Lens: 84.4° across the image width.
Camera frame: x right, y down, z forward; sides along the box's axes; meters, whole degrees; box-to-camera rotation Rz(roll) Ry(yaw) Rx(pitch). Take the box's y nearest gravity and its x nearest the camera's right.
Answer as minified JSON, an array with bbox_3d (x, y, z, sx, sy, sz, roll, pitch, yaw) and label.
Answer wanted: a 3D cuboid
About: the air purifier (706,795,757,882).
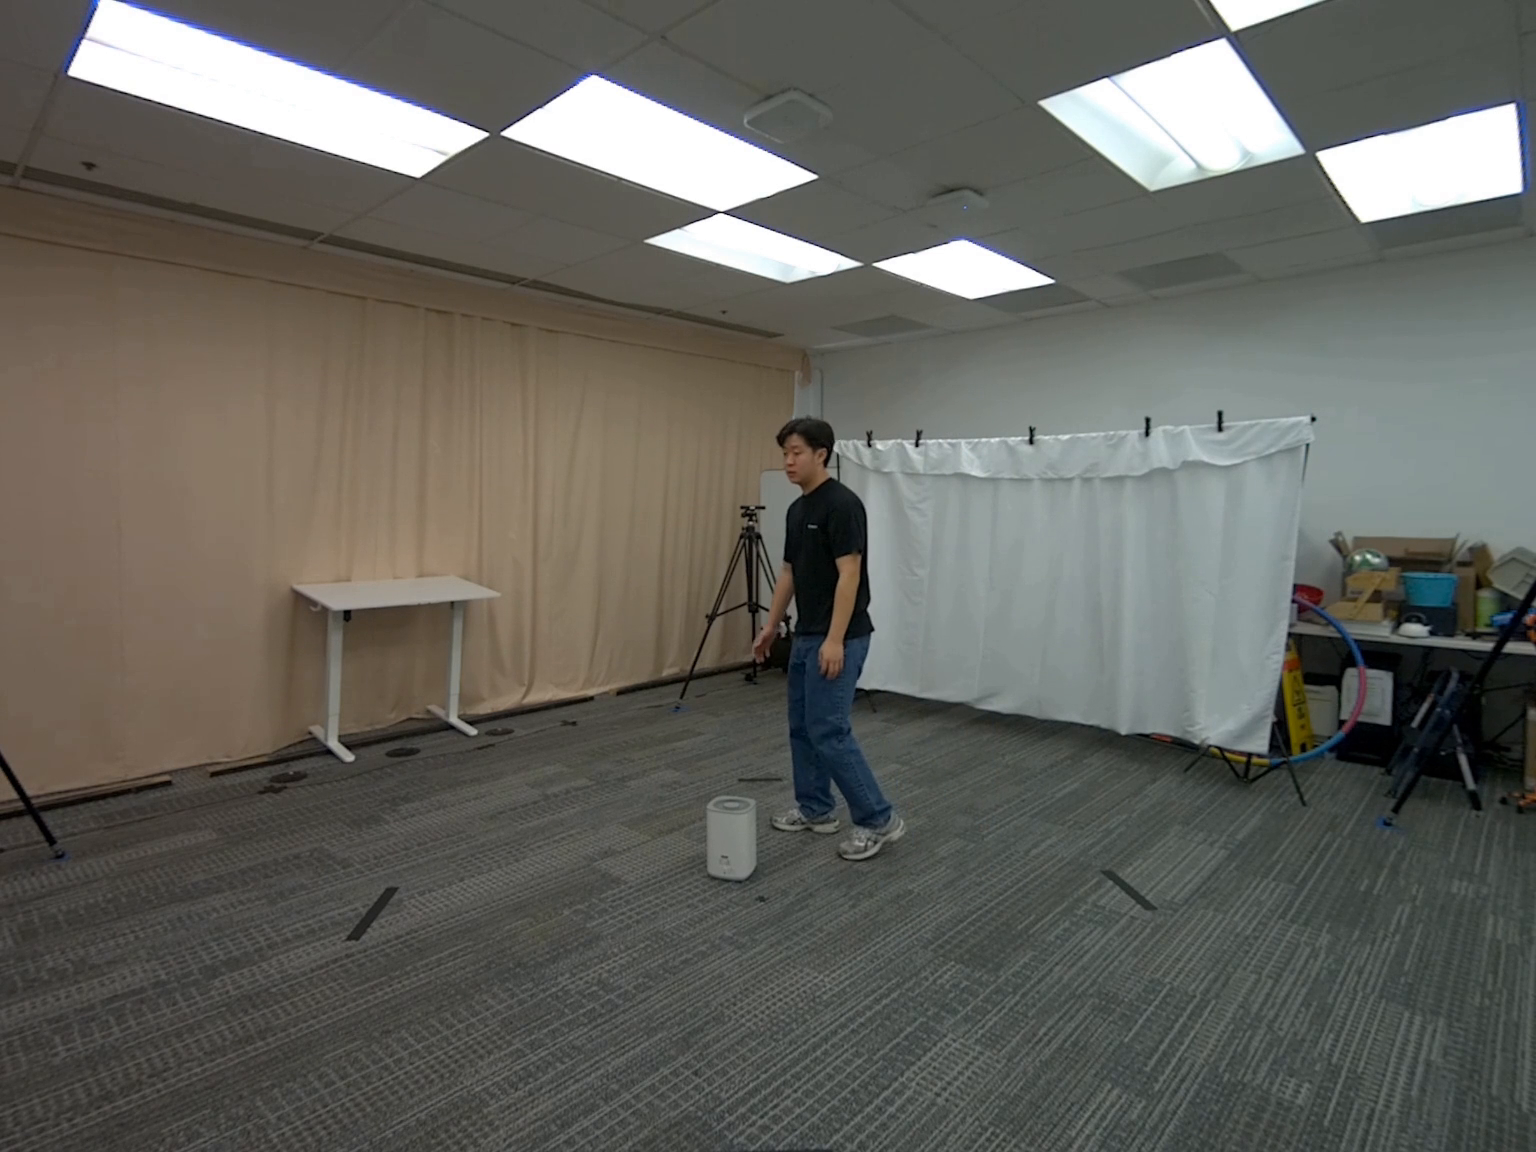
[{"bbox_3d":[-0.134,0.990,3.189,0.174,0.265,0.168,1,3,17],"label":"air purifier"}]
